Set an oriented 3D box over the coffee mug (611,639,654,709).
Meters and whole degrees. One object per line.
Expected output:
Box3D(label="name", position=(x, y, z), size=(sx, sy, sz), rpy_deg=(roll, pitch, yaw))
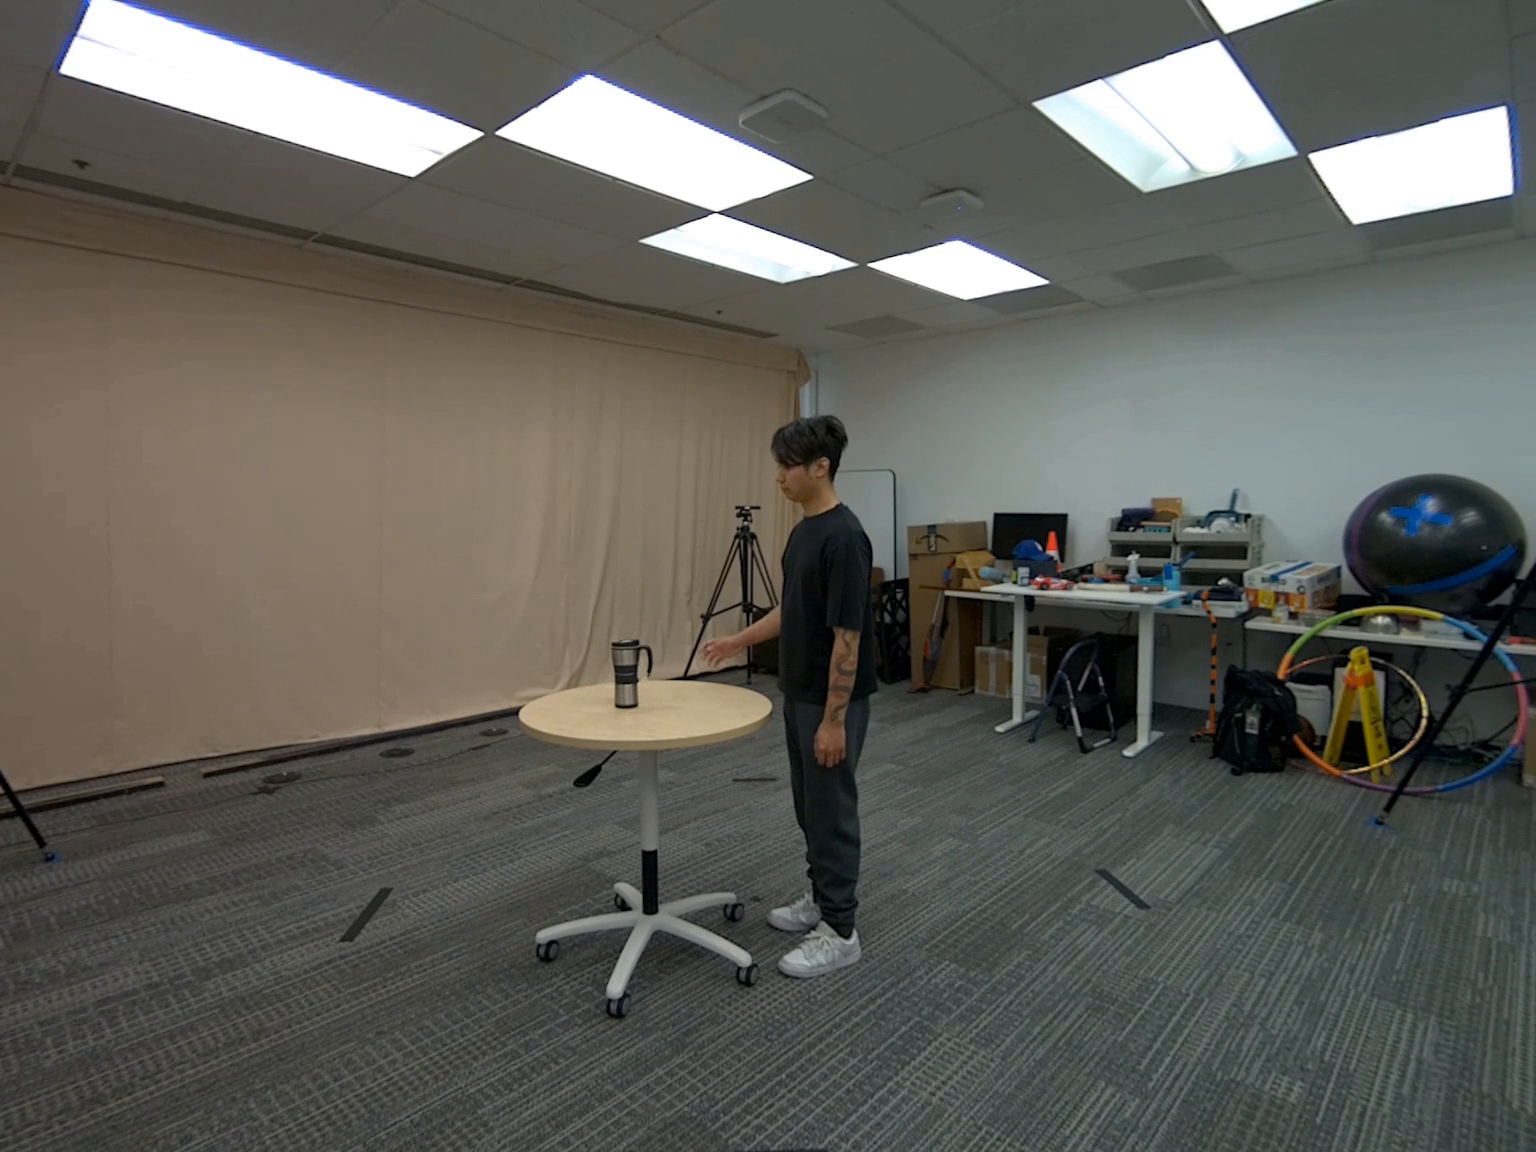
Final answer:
Box3D(label="coffee mug", position=(-0.416, 0.302, 2.560), size=(0.125, 0.203, 0.085), rpy_deg=(-2, -1, 35))
